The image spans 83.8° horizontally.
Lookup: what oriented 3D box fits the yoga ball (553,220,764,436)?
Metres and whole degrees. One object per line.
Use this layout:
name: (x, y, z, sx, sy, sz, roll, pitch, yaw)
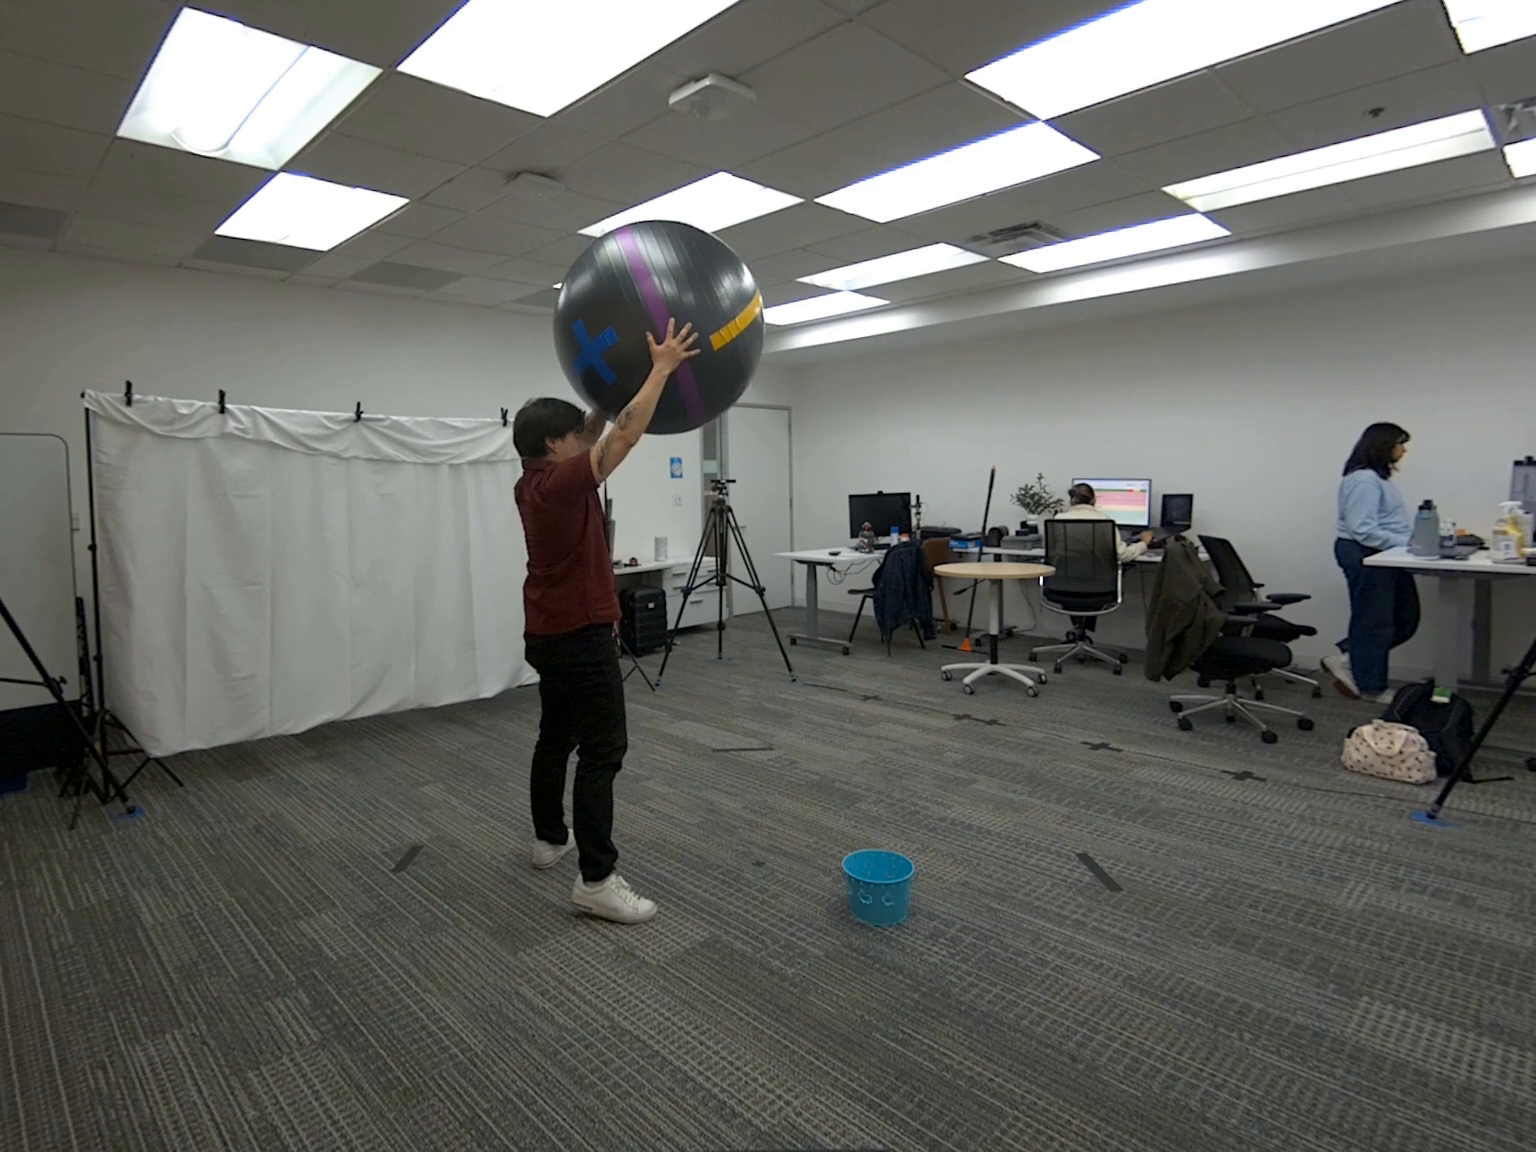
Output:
yoga ball: (-0.383, -0.878, 3.092, 0.757, 0.755, 0.762, -1, 5, -2)
